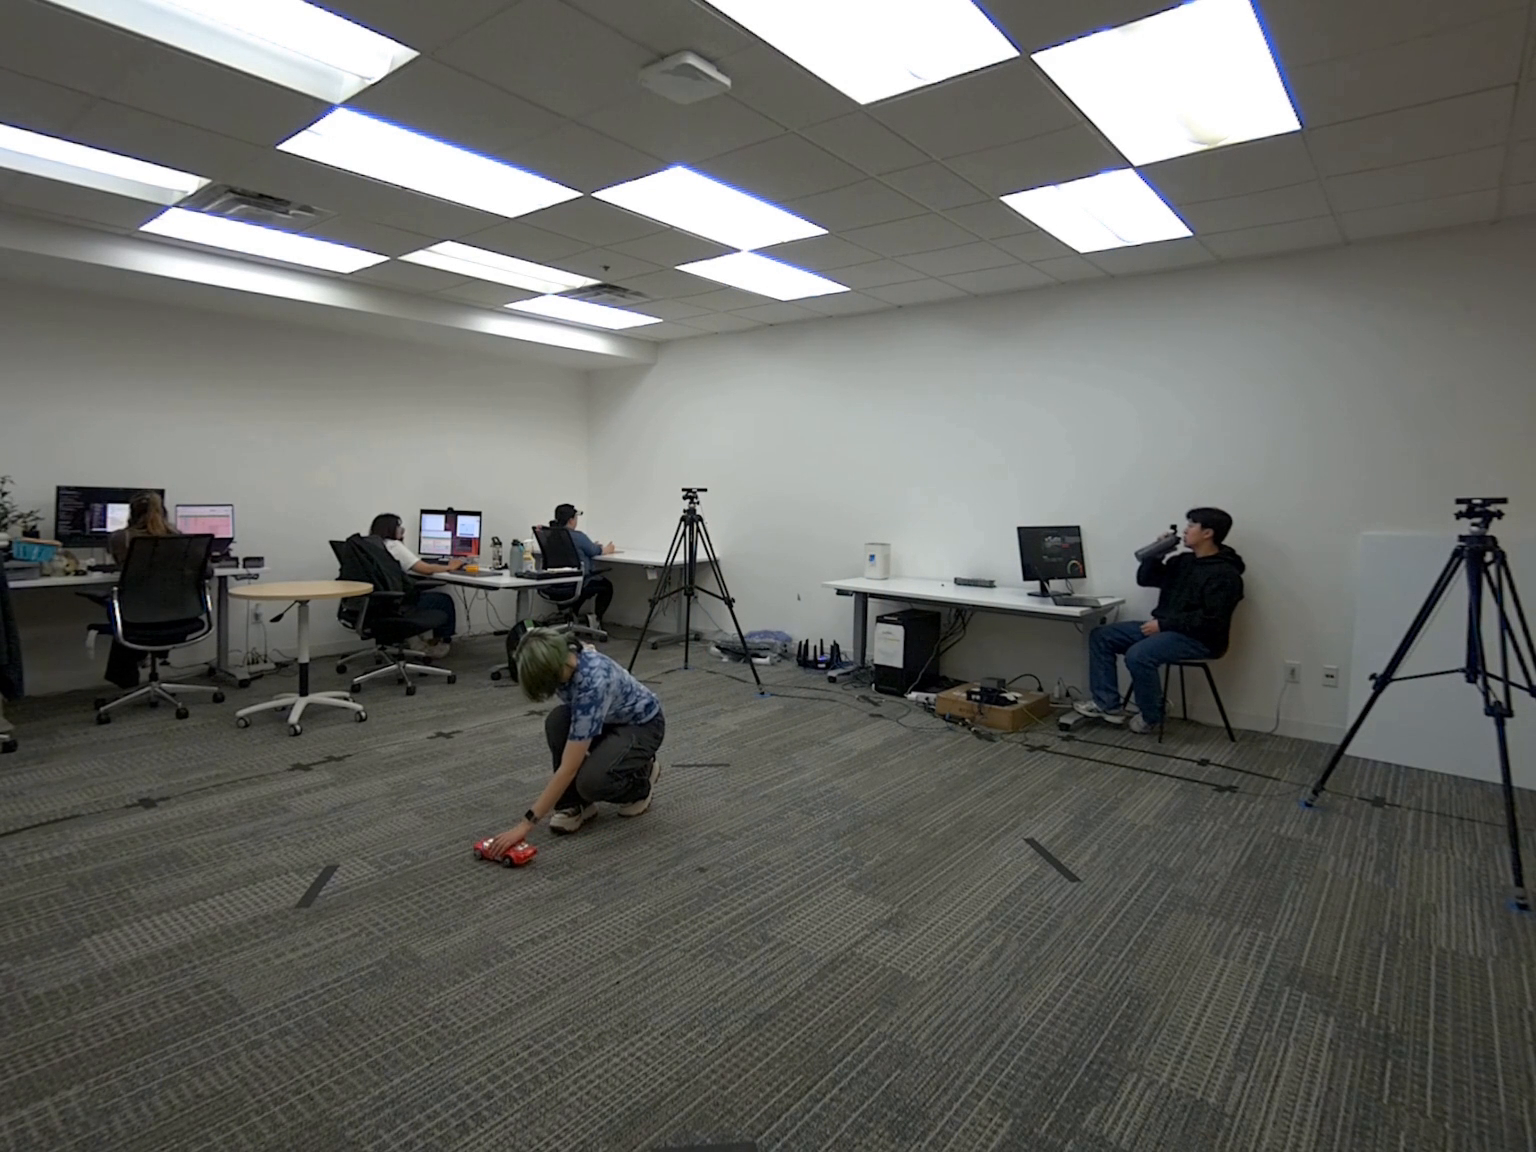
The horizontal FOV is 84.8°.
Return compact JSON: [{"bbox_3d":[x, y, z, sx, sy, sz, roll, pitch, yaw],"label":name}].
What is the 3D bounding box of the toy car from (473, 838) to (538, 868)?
[{"bbox_3d":[-0.977,1.022,3.155,0.260,0.083,0.127,-8,0,26],"label":"toy car"}]
